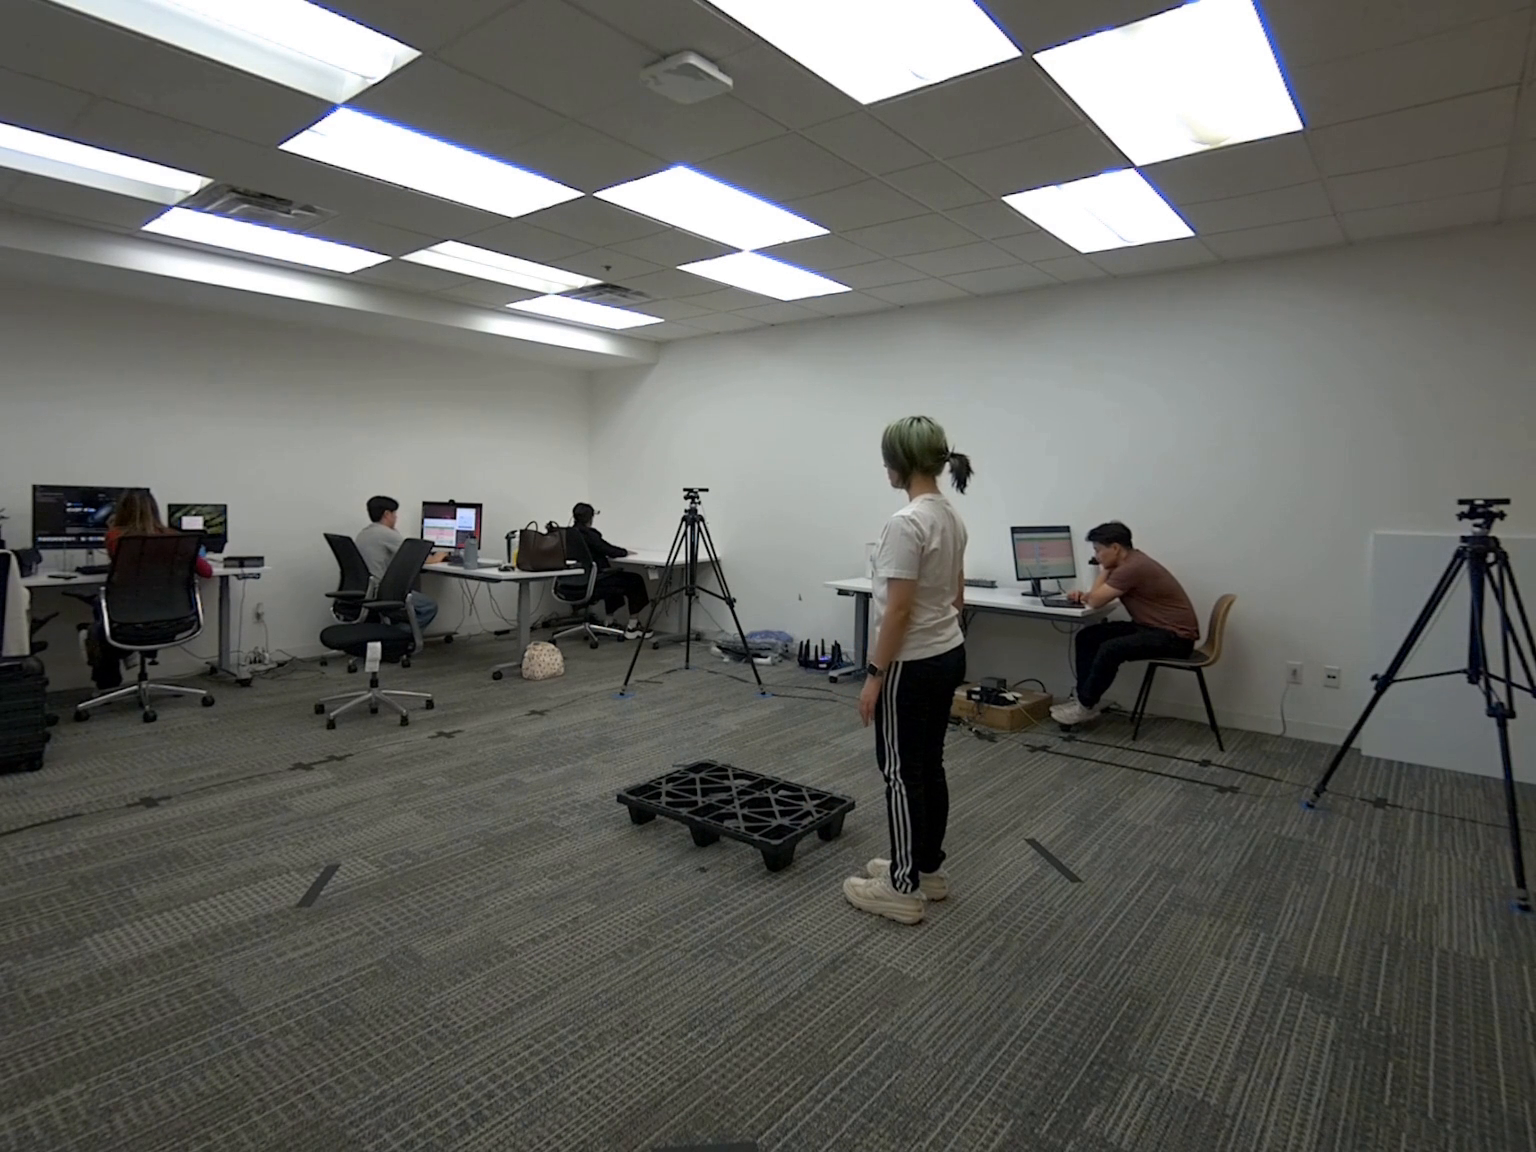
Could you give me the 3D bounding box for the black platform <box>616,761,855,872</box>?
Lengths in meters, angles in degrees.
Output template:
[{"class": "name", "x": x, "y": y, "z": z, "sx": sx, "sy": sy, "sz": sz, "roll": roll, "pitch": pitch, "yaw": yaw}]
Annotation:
[{"class": "black platform", "x": -0.142, "y": 0.967, "z": 3.489, "sx": 0.832, "sy": 0.143, "sz": 0.588, "roll": 5, "pitch": 7, "yaw": 36}]
